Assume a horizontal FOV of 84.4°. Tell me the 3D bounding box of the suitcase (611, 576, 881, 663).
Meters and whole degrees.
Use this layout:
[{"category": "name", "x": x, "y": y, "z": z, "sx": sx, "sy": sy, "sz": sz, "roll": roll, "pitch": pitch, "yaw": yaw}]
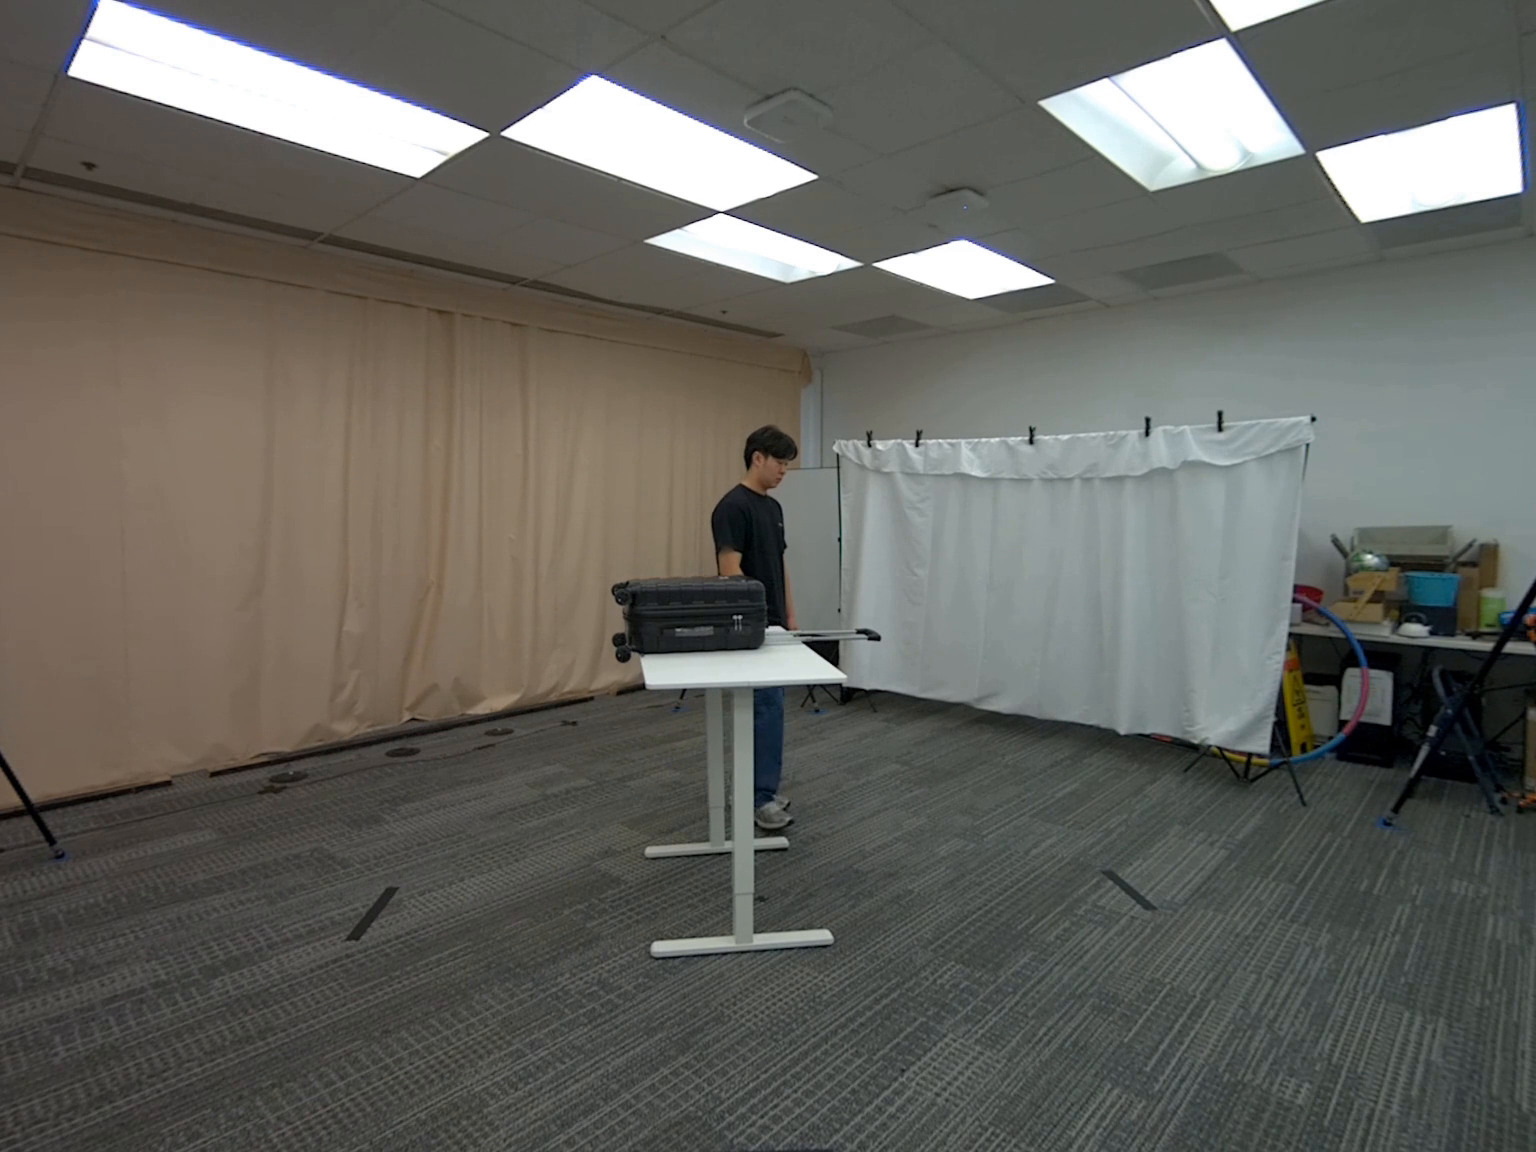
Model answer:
[{"category": "suitcase", "x": -0.089, "y": 0.131, "z": 3.111, "sx": 0.968, "sy": 0.256, "sz": 0.389, "roll": -3, "pitch": 4, "yaw": -10}]
